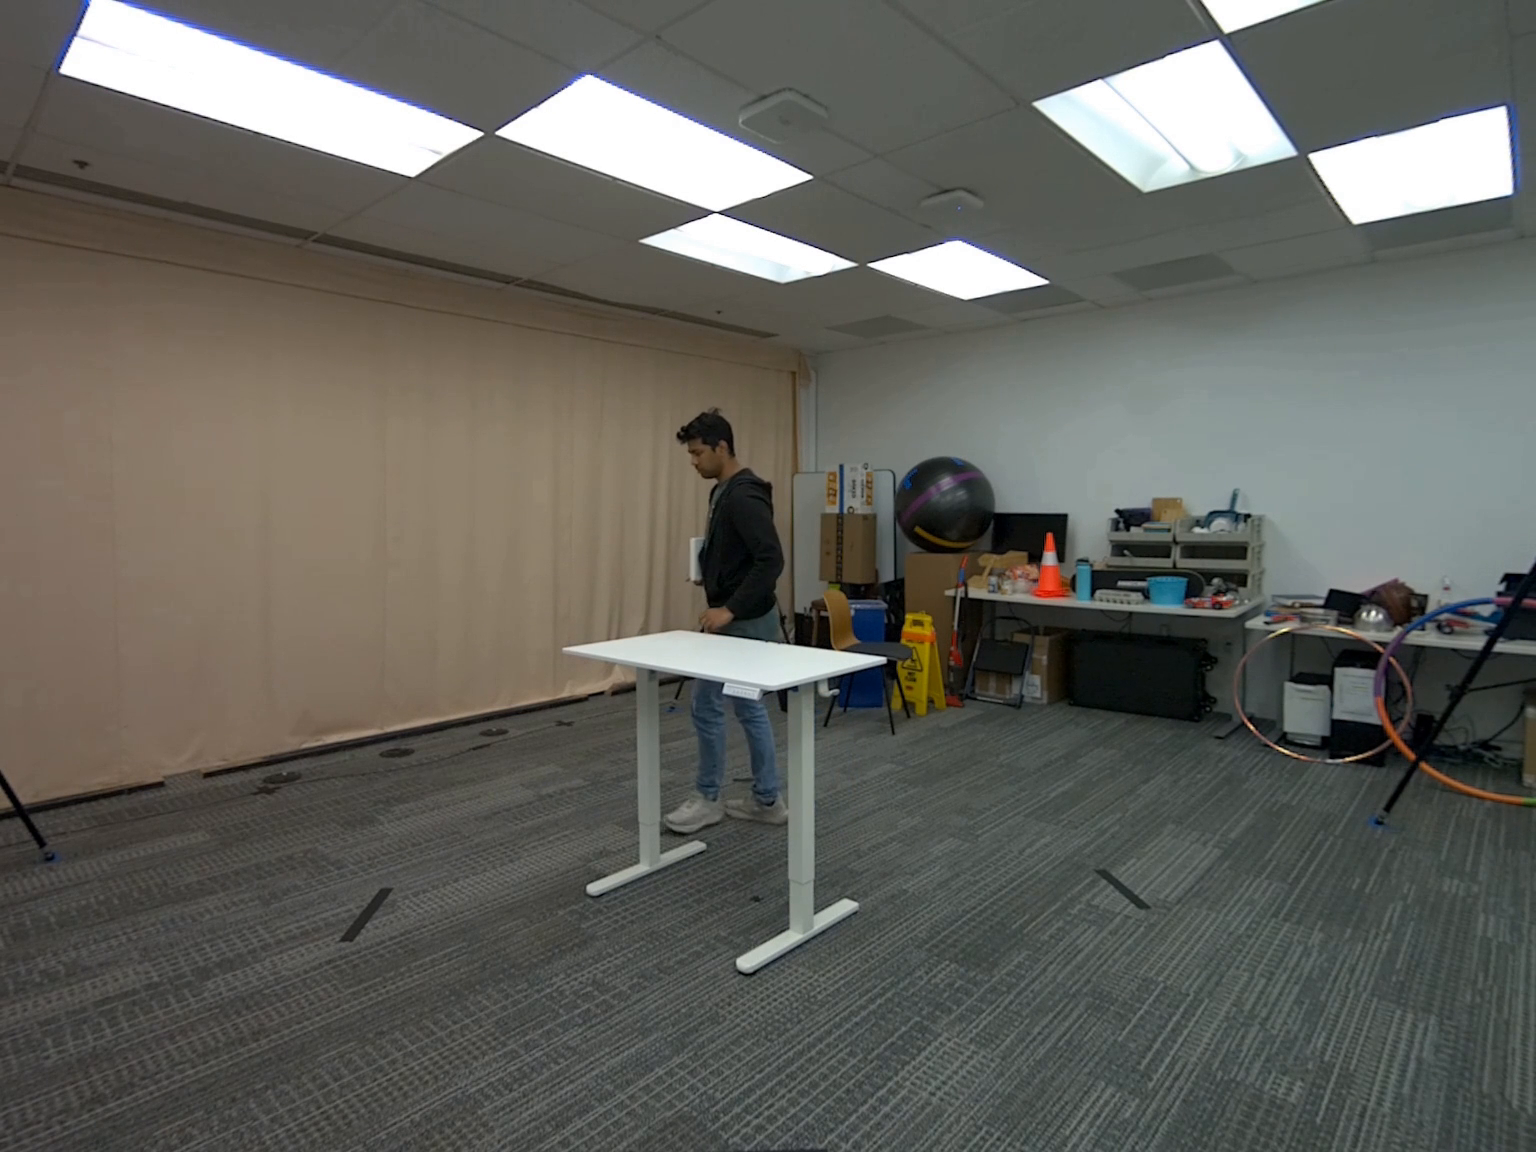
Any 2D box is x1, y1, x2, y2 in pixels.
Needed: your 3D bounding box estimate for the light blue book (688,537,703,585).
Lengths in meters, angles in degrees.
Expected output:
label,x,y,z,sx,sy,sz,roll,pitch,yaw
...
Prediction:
label,x,y,z,sx,sy,sz,roll,pitch,yaw
light blue book,-0.218,-0.079,3.764,0.256,0.191,0.060,-1,3,-20
